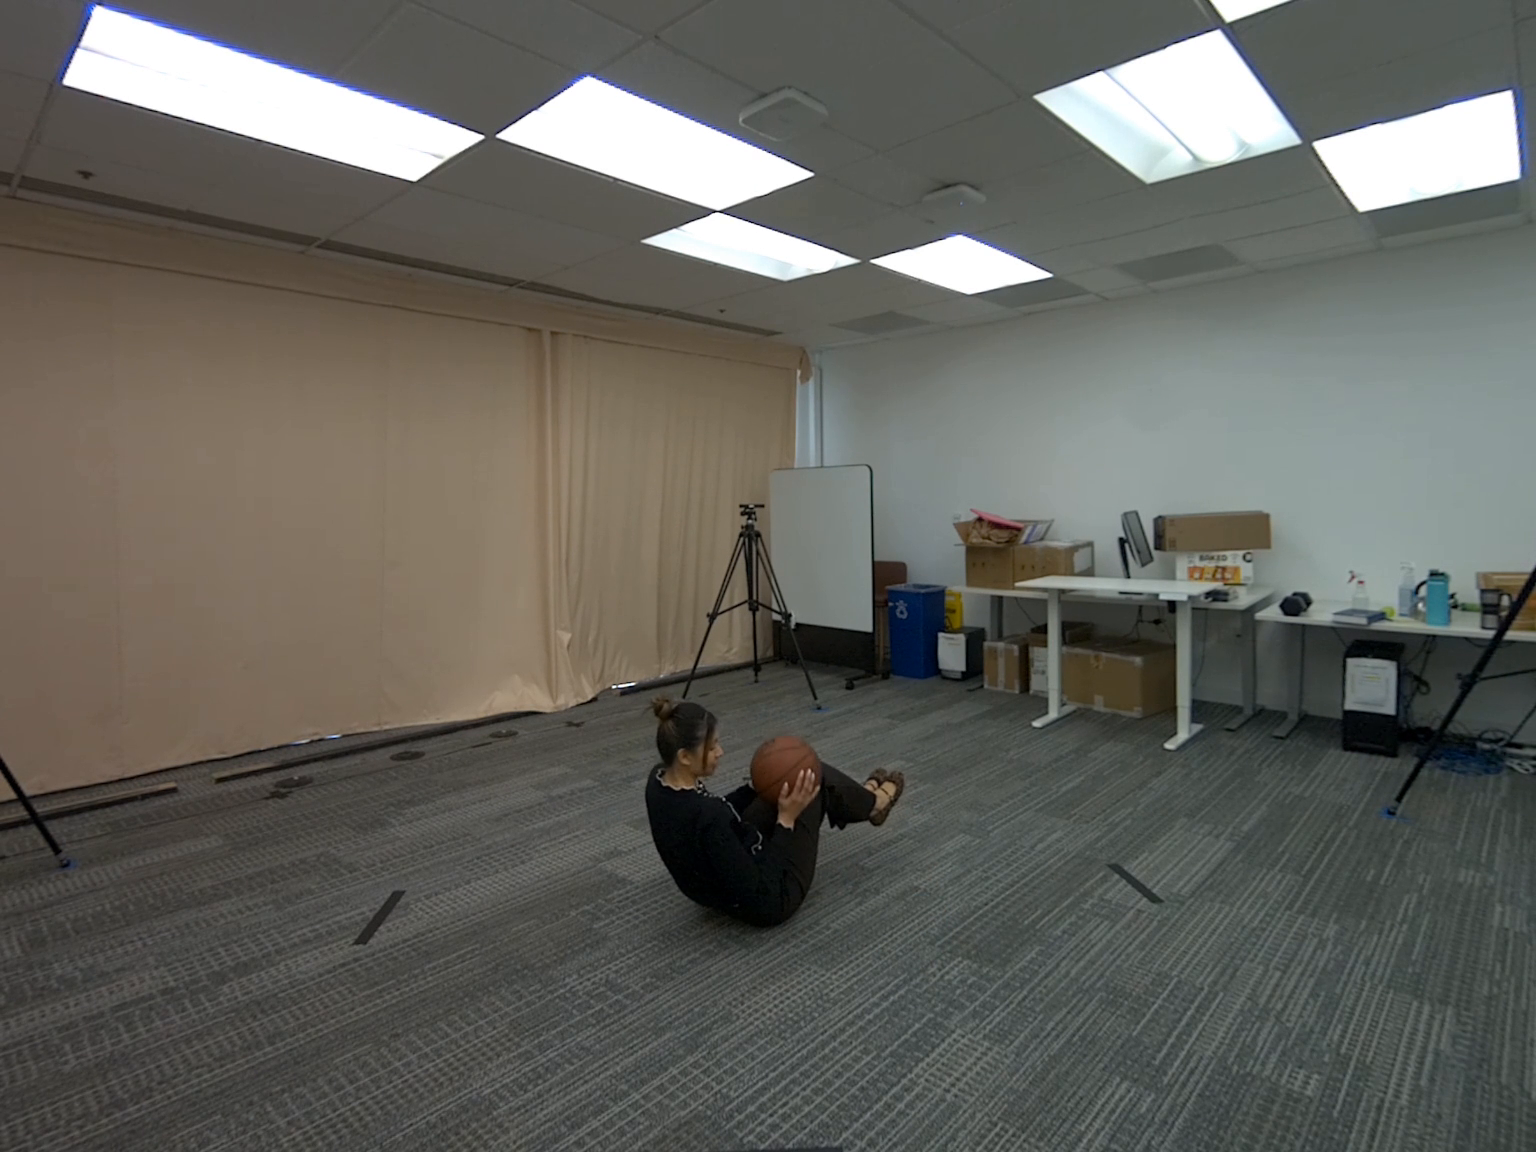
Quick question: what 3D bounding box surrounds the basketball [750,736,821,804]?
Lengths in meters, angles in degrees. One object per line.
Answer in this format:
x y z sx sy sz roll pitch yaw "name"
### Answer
0.042 0.655 2.770 0.236 0.235 0.237 -1 4 -2 "basketball"
